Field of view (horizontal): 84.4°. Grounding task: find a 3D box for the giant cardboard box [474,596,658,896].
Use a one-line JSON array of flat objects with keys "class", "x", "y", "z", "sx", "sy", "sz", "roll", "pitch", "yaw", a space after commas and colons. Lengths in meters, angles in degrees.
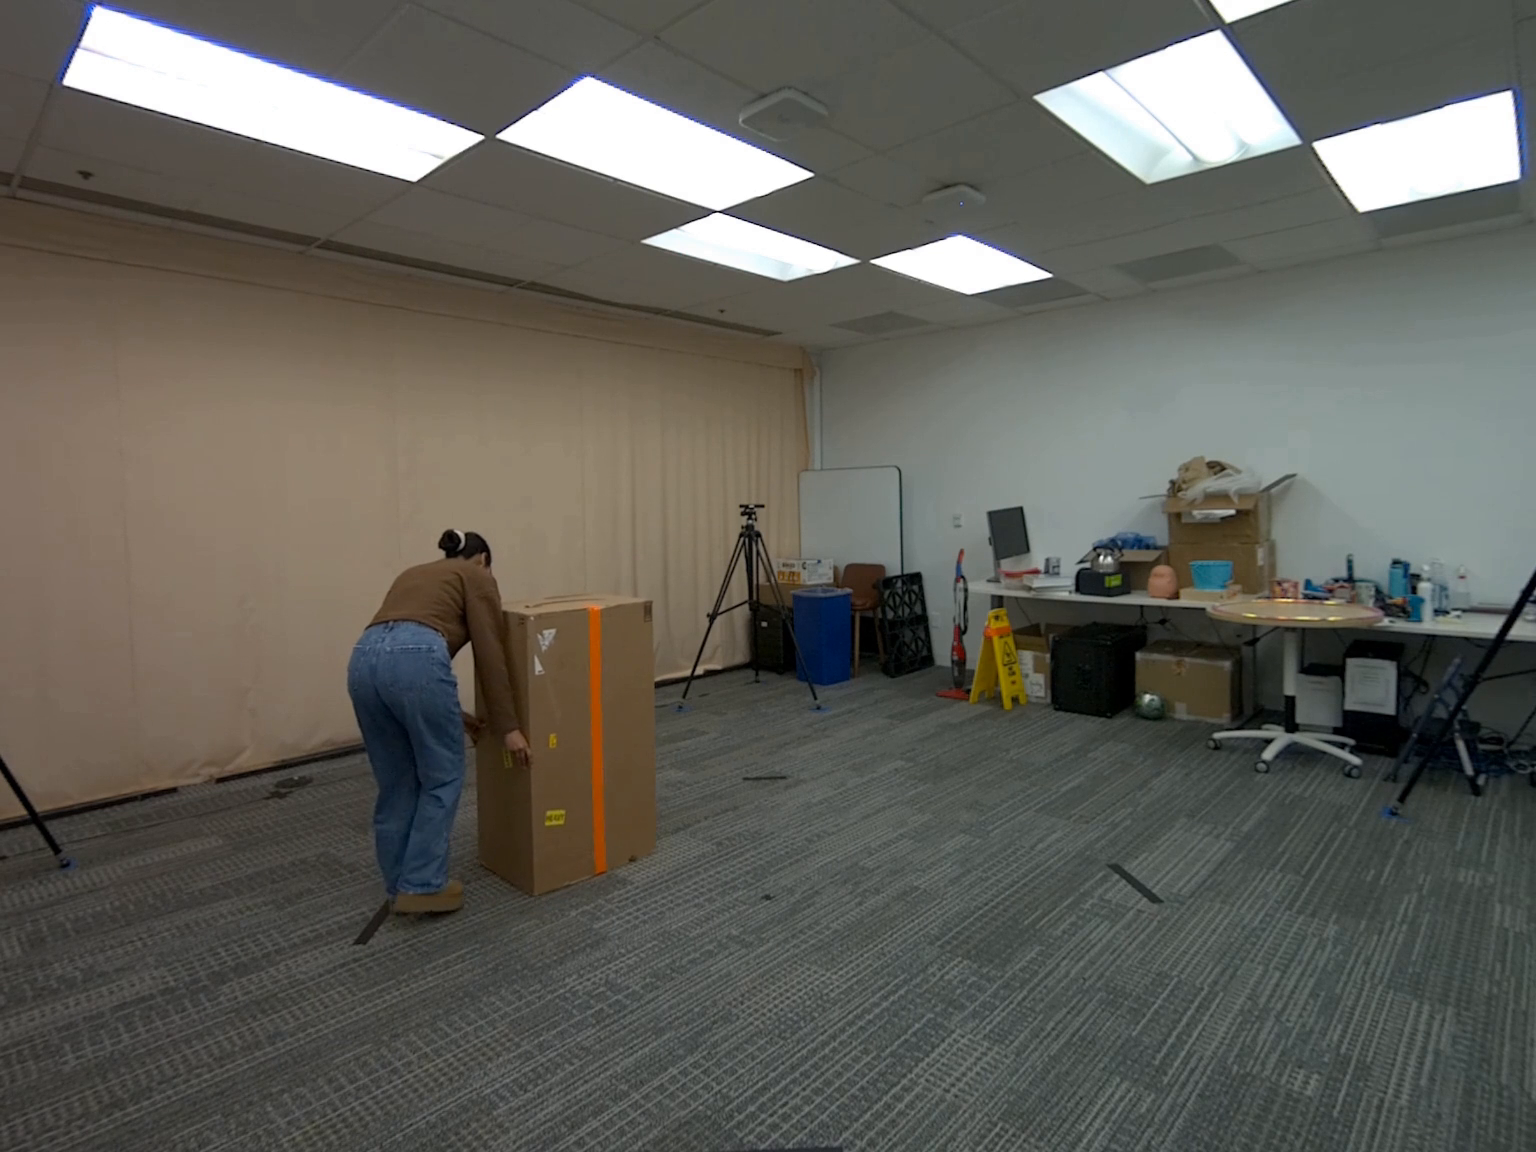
[{"class": "giant cardboard box", "x": -0.799, "y": 0.620, "z": 3.346, "sx": 0.440, "sy": 1.024, "sz": 0.560, "roll": 2, "pitch": 4, "yaw": 45}]
